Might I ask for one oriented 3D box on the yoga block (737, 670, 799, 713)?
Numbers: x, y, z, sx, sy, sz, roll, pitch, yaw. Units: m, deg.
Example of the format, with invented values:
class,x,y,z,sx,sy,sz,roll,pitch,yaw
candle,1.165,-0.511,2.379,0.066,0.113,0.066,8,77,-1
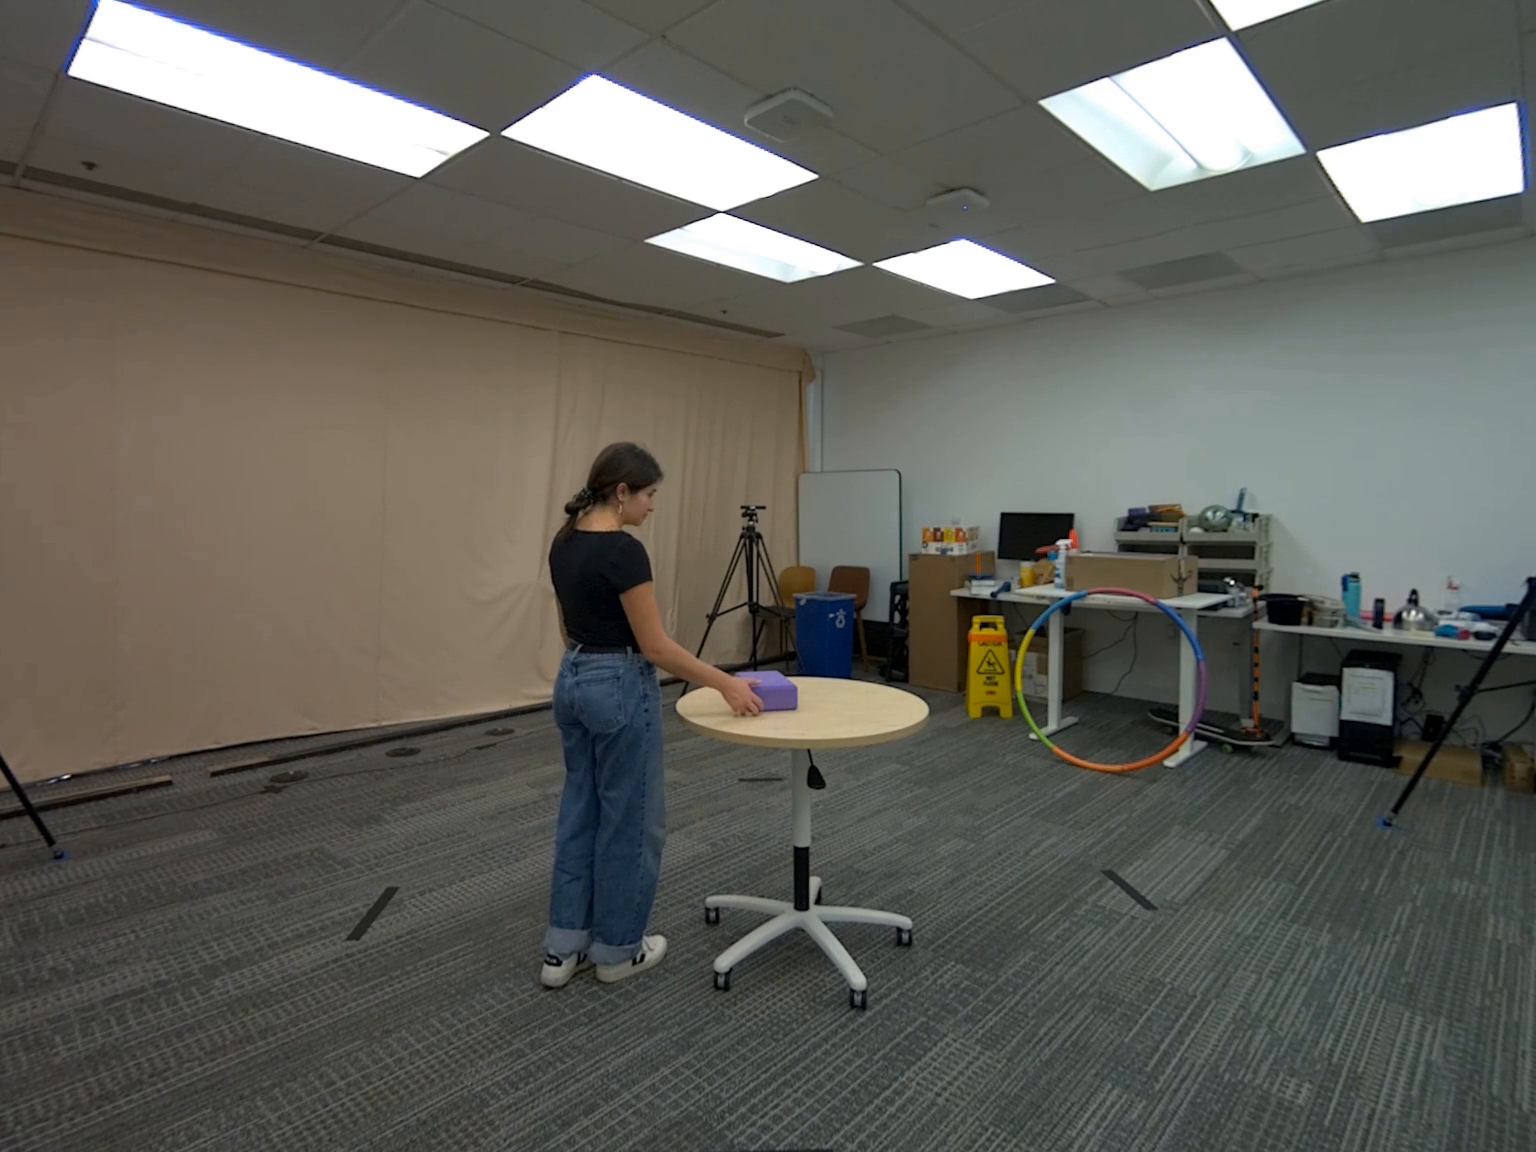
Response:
class,x,y,z,sx,sy,sz,roll,pitch,yaw
yoga block,0.007,0.359,2.594,0.147,0.076,0.233,-1,6,-14
